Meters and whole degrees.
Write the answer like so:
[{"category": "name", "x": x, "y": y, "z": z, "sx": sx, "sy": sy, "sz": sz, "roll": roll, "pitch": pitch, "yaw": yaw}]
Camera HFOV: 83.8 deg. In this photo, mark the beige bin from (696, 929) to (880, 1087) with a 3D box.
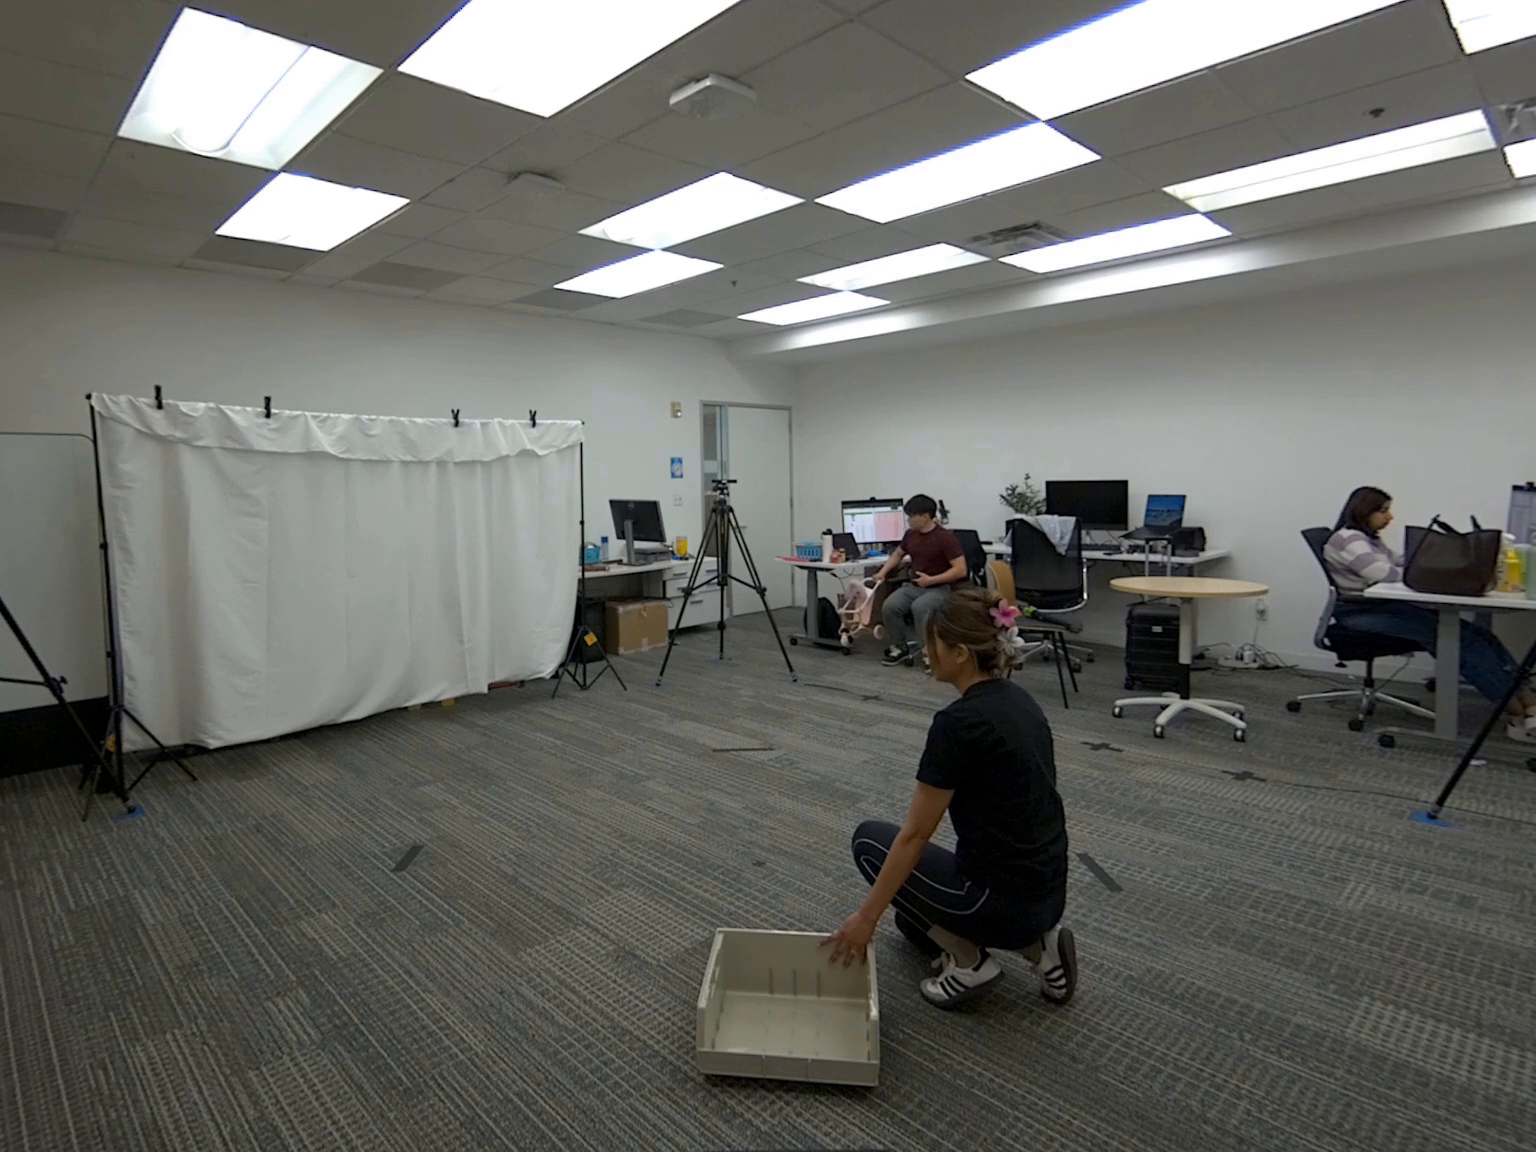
[{"category": "beige bin", "x": 0.067, "y": 1.077, "z": 2.108, "sx": 0.425, "sy": 0.188, "sz": 0.376, "roll": -1, "pitch": 5, "yaw": 6}]
